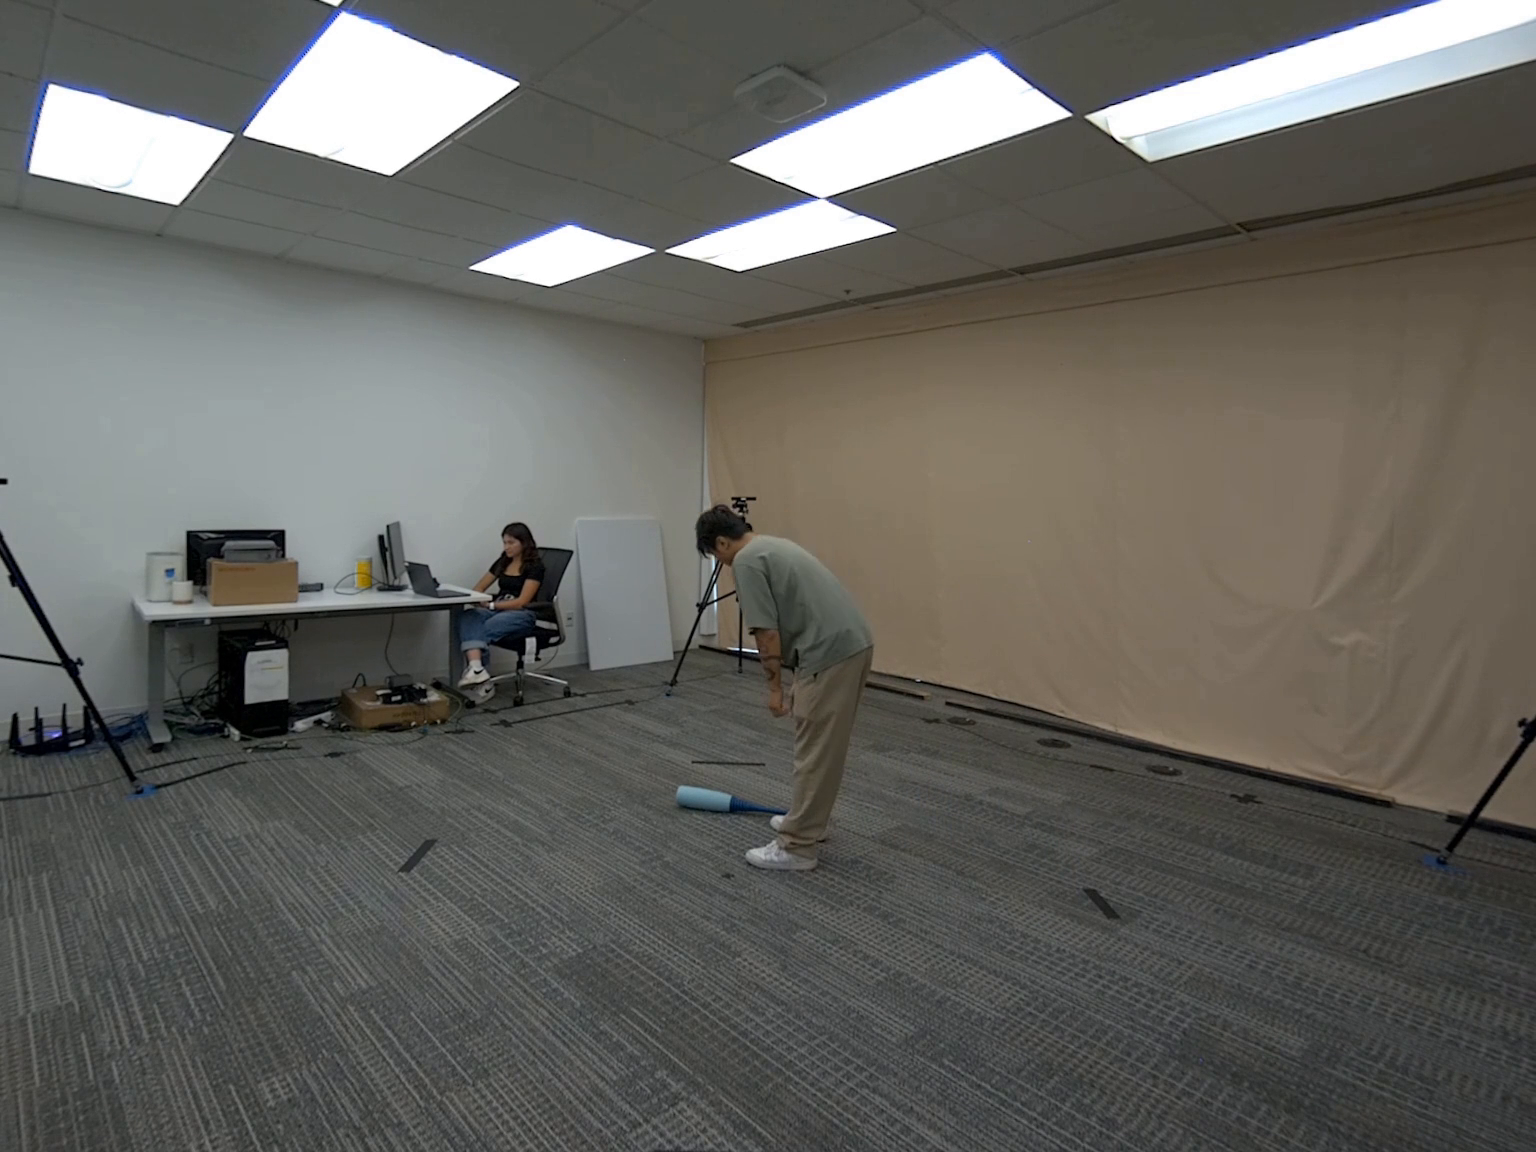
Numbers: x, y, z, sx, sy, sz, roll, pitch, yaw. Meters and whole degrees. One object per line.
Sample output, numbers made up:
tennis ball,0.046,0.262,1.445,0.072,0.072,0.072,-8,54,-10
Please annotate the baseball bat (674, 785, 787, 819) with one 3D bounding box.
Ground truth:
baseball bat,-0.154,1.012,3.736,0.549,0.089,0.088,5,5,12
